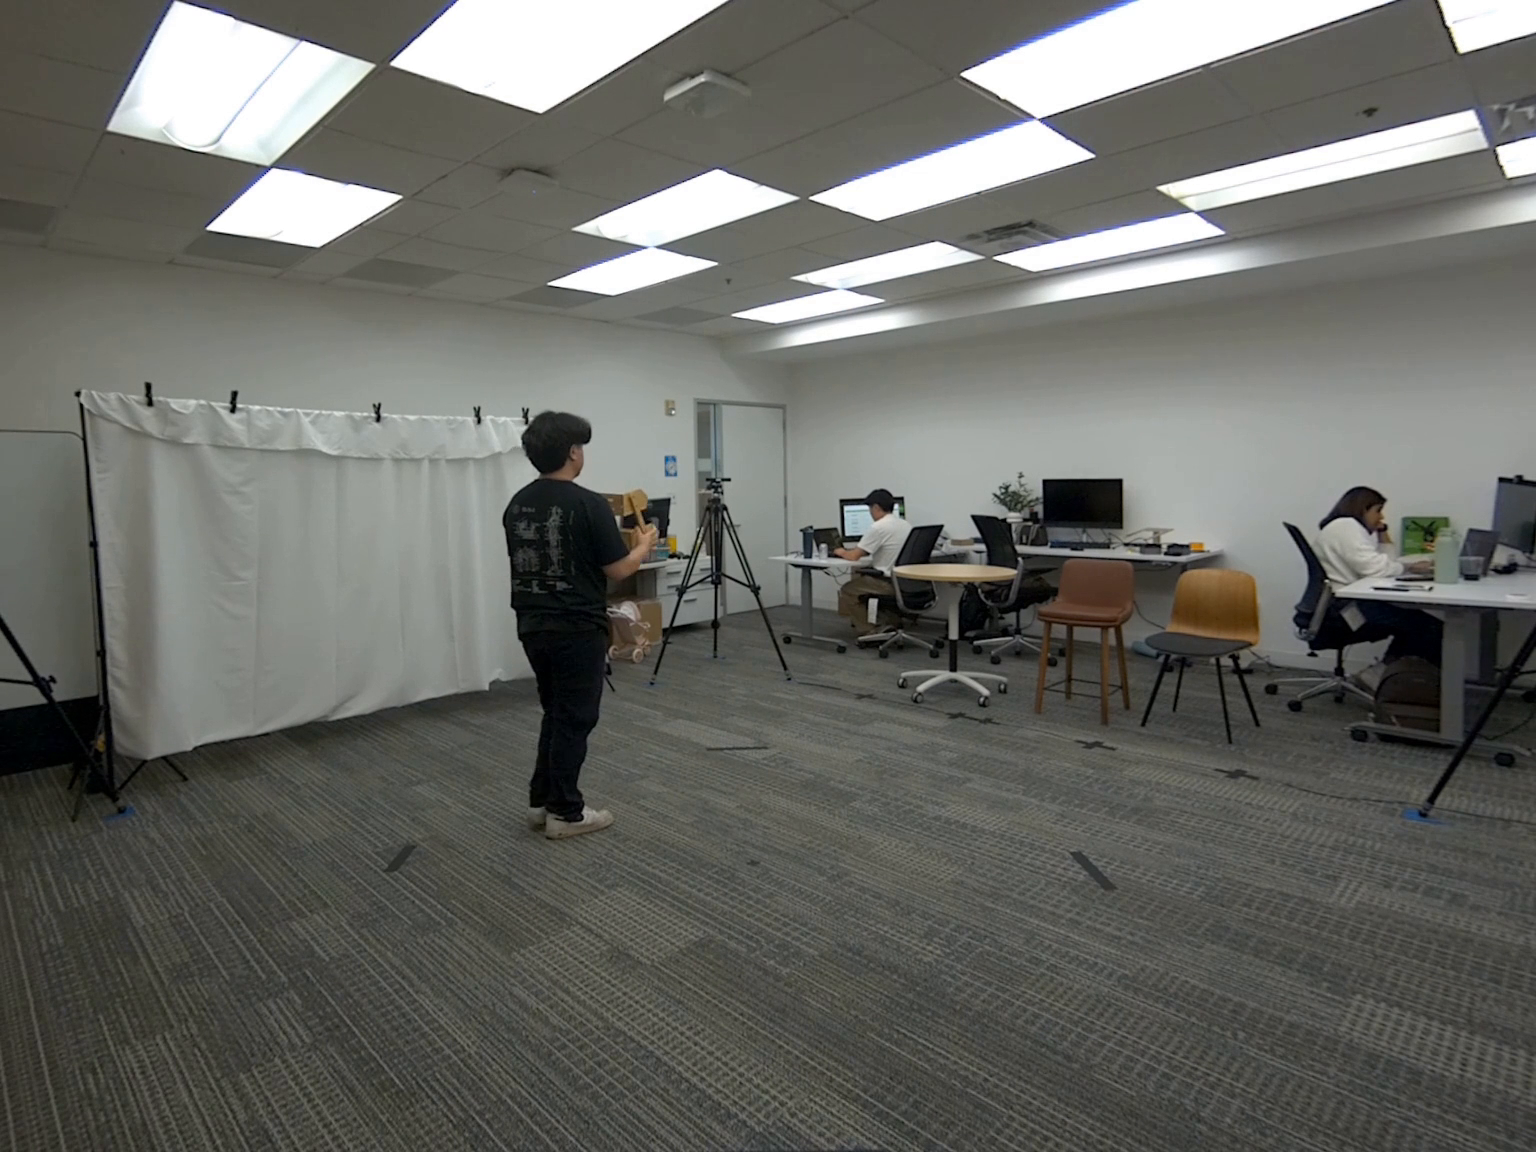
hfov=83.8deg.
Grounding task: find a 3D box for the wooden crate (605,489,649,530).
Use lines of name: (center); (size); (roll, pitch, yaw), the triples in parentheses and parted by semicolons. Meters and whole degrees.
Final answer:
wooden crate: (-0.680, -0.260, 3.686); (0.332, 0.270, 0.299); (4, 15, 22)
